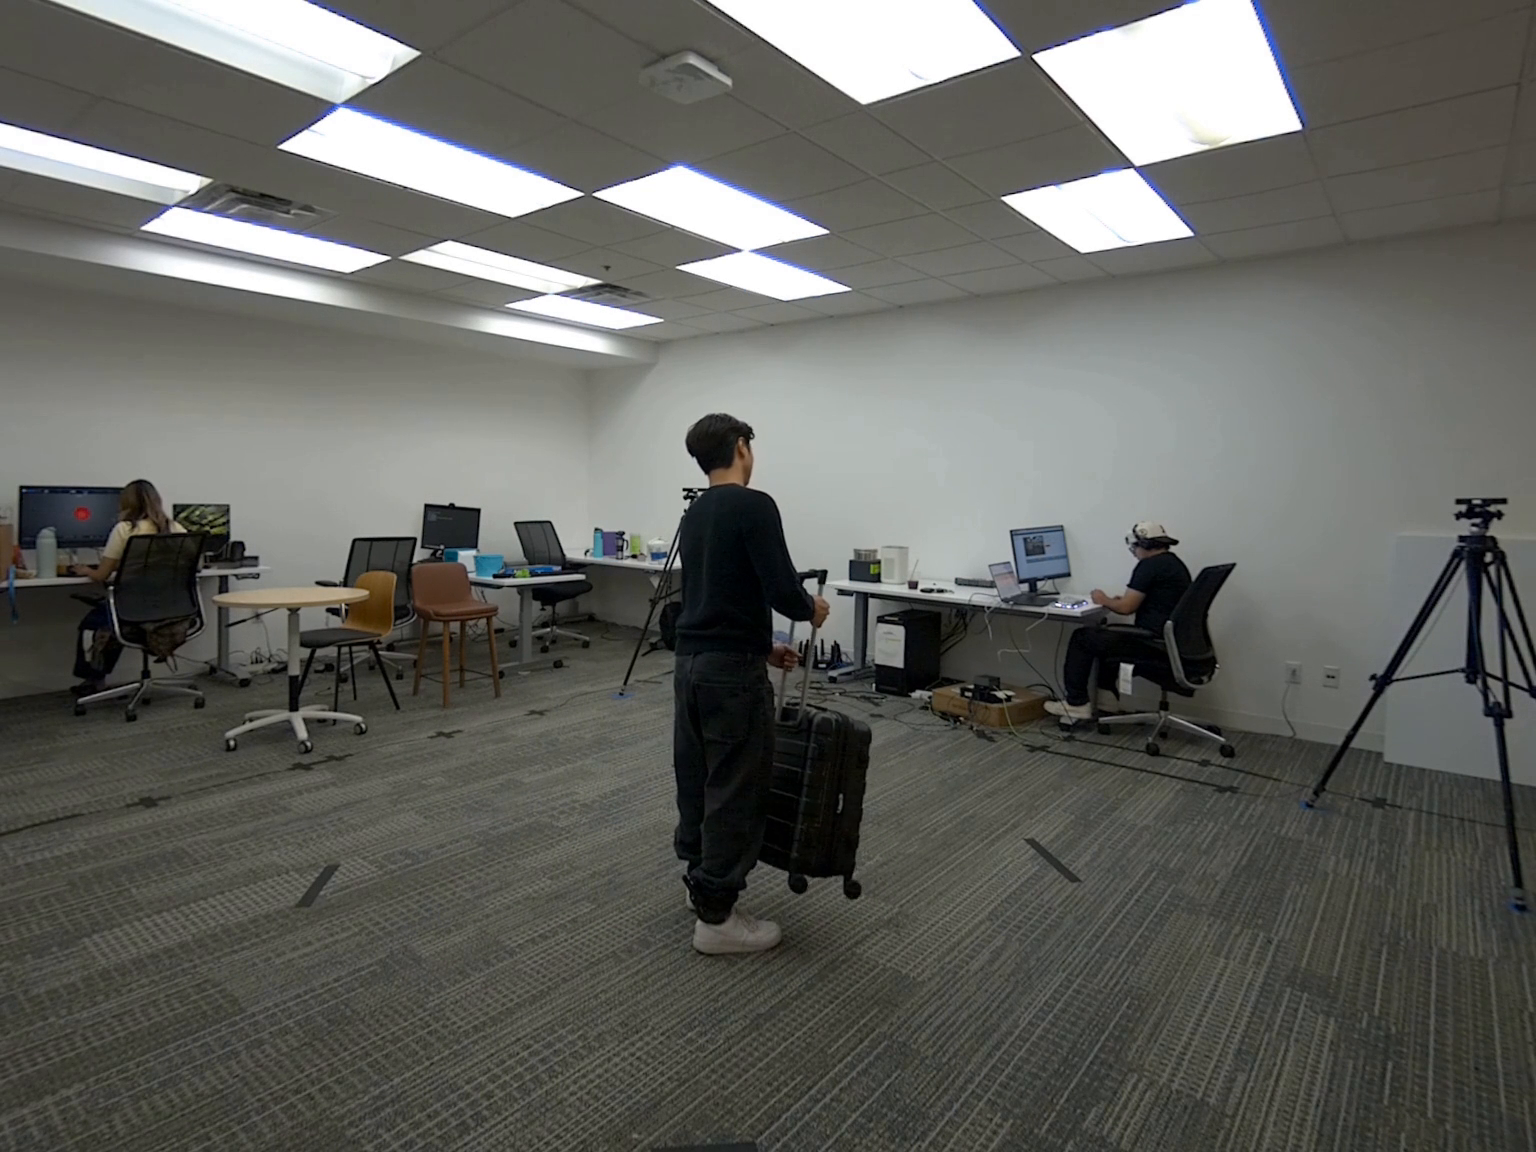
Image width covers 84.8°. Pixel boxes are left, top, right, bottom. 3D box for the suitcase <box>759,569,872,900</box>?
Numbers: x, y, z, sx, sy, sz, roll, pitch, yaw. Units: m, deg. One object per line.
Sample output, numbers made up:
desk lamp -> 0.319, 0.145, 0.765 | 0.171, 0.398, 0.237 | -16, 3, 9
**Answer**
suitcase -> 0.160, 0.503, 2.800 | 0.250, 0.988, 0.391 | 16, -14, -25
